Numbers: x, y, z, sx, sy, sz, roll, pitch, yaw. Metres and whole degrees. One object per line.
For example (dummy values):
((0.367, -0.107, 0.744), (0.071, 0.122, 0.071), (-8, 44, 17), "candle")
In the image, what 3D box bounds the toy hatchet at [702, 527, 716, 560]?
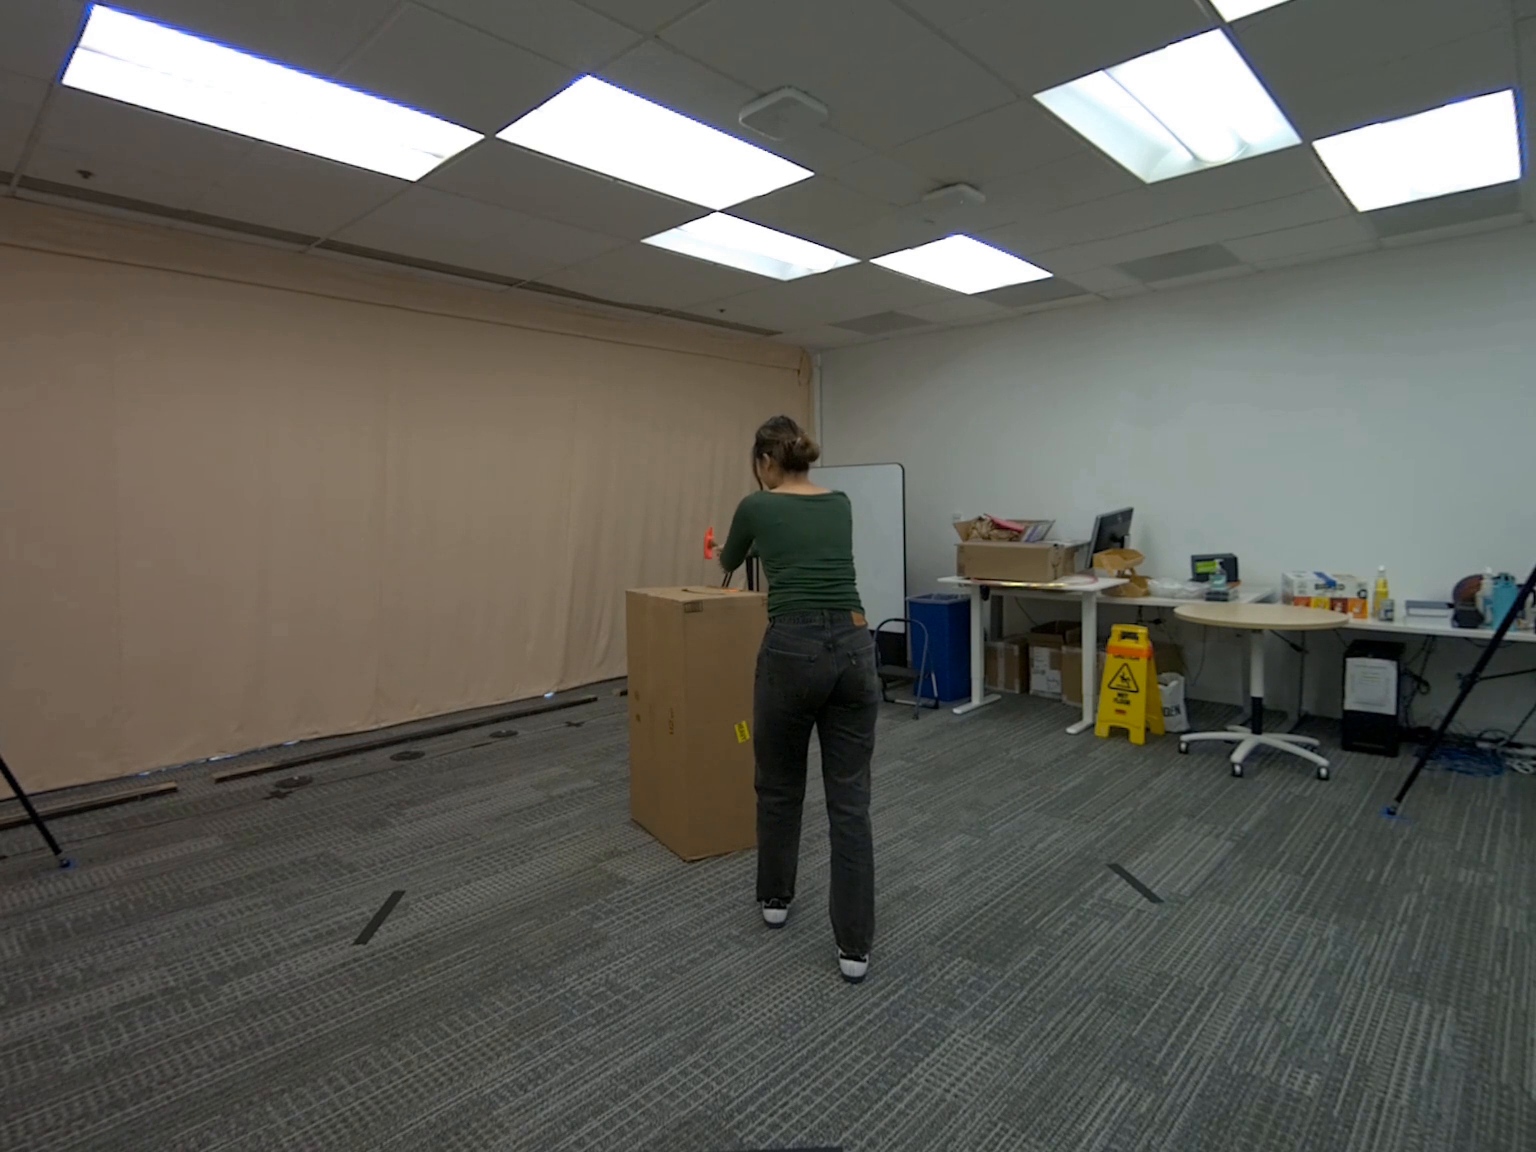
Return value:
((-0.195, -0.073, 3.309), (0.029, 0.130, 0.279), (7, 32, -32), "toy hatchet")
